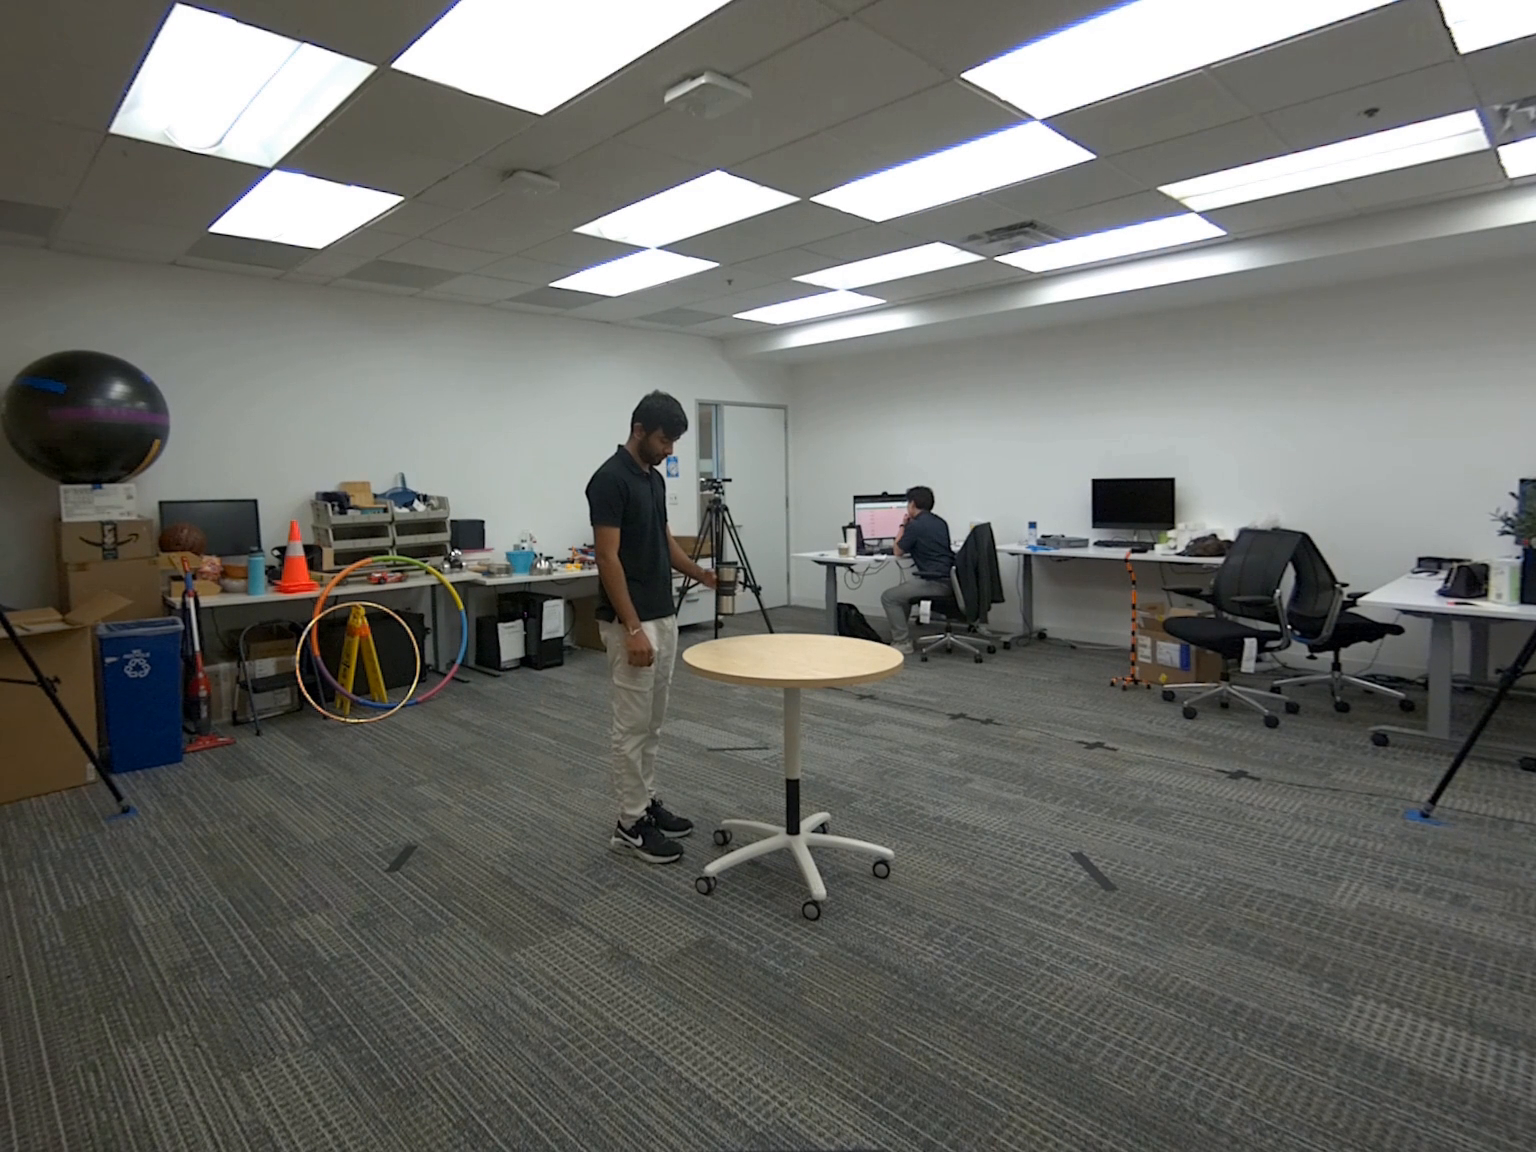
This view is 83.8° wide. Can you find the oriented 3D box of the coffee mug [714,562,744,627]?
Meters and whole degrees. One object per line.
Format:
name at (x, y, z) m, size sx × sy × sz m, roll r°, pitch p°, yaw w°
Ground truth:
coffee mug at (-0.143, 0.049, 3.191) m, size 0.125 × 0.202 × 0.086 m, roll 1°, pitch 3°, yaw 27°
